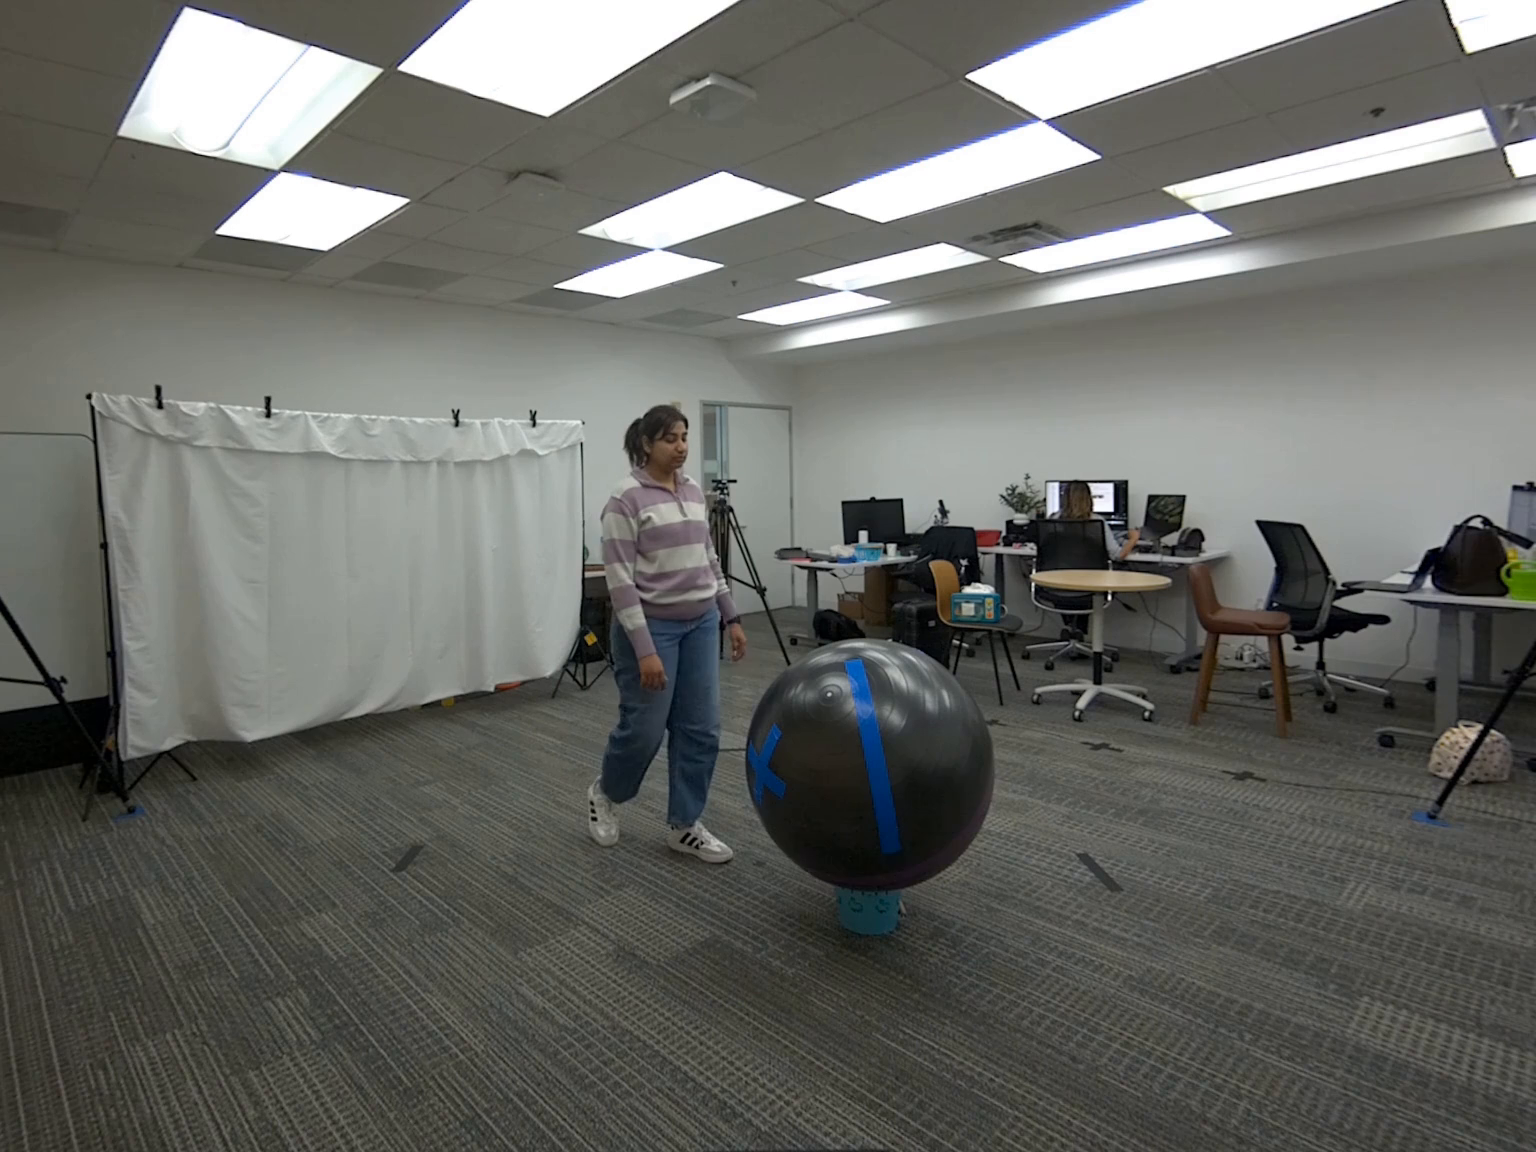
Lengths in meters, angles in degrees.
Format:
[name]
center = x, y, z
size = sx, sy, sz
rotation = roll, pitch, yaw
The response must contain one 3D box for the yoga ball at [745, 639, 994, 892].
[yoga ball]
center = 0.317, 0.585, 2.649
size = 0.757, 0.755, 0.762
rotation = -1, 5, -2
